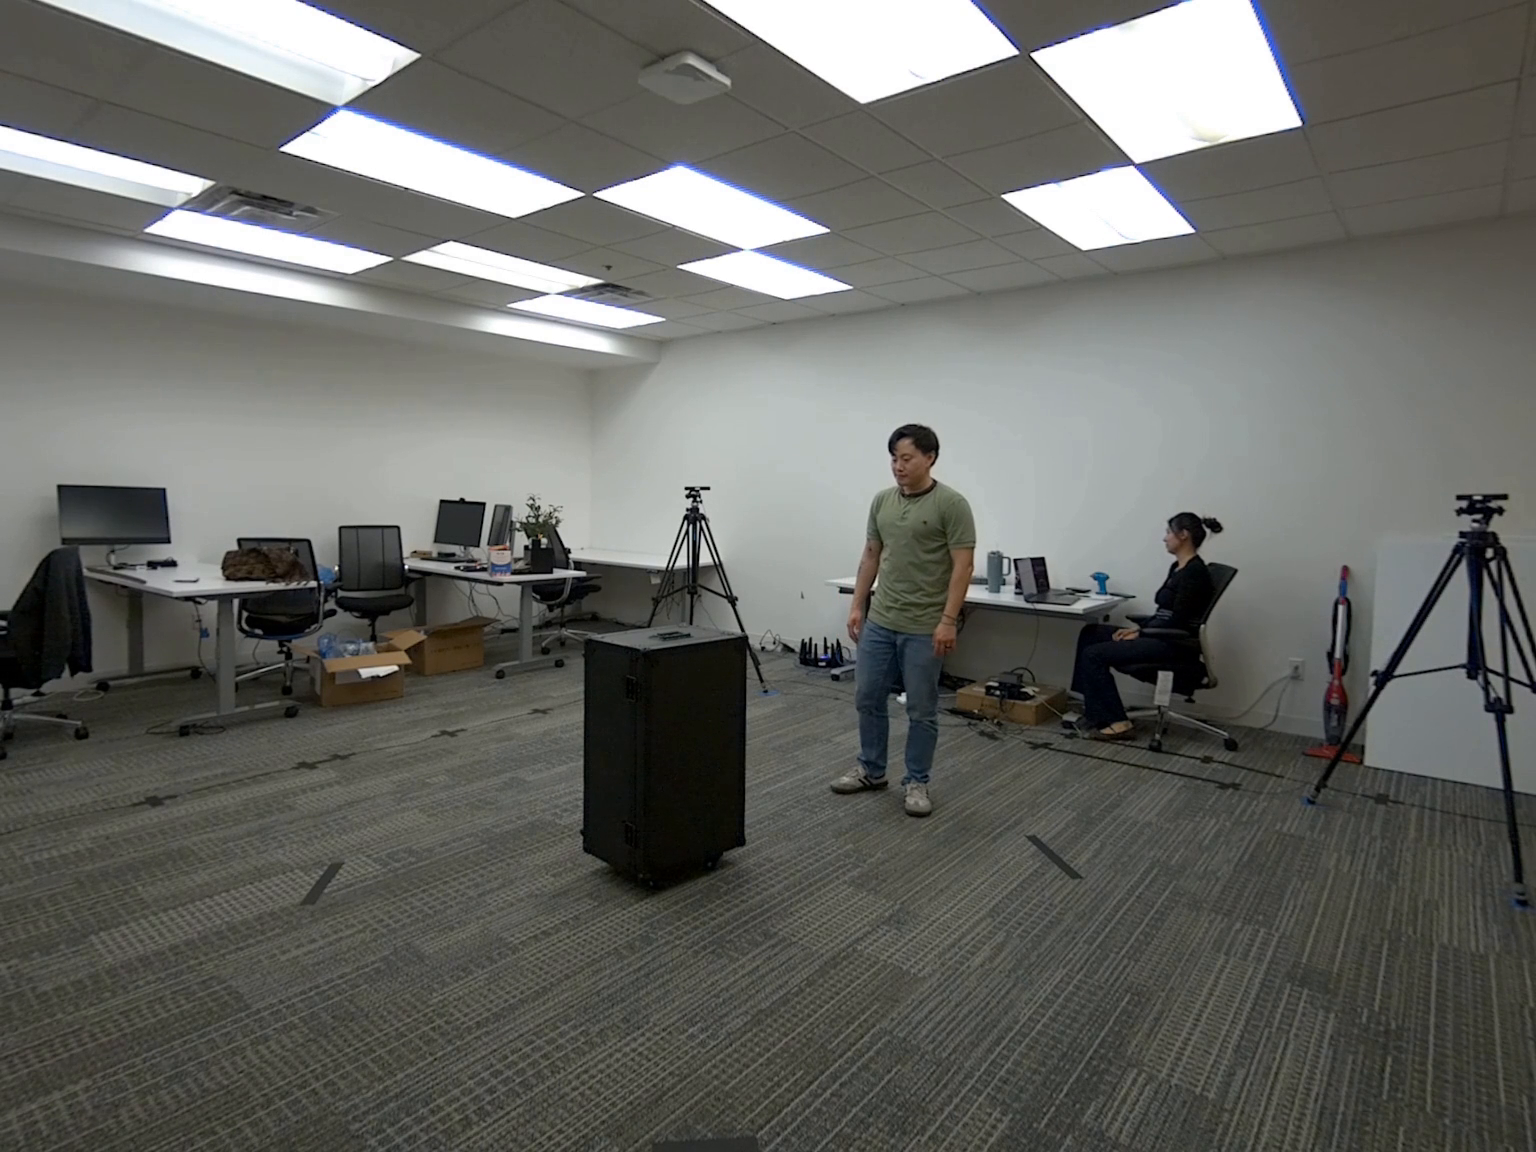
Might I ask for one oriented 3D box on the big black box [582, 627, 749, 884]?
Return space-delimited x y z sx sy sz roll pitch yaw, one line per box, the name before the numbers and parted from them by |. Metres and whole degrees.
big black box | -0.396 0.637 3.099 0.409 0.860 0.505 3 4 44
